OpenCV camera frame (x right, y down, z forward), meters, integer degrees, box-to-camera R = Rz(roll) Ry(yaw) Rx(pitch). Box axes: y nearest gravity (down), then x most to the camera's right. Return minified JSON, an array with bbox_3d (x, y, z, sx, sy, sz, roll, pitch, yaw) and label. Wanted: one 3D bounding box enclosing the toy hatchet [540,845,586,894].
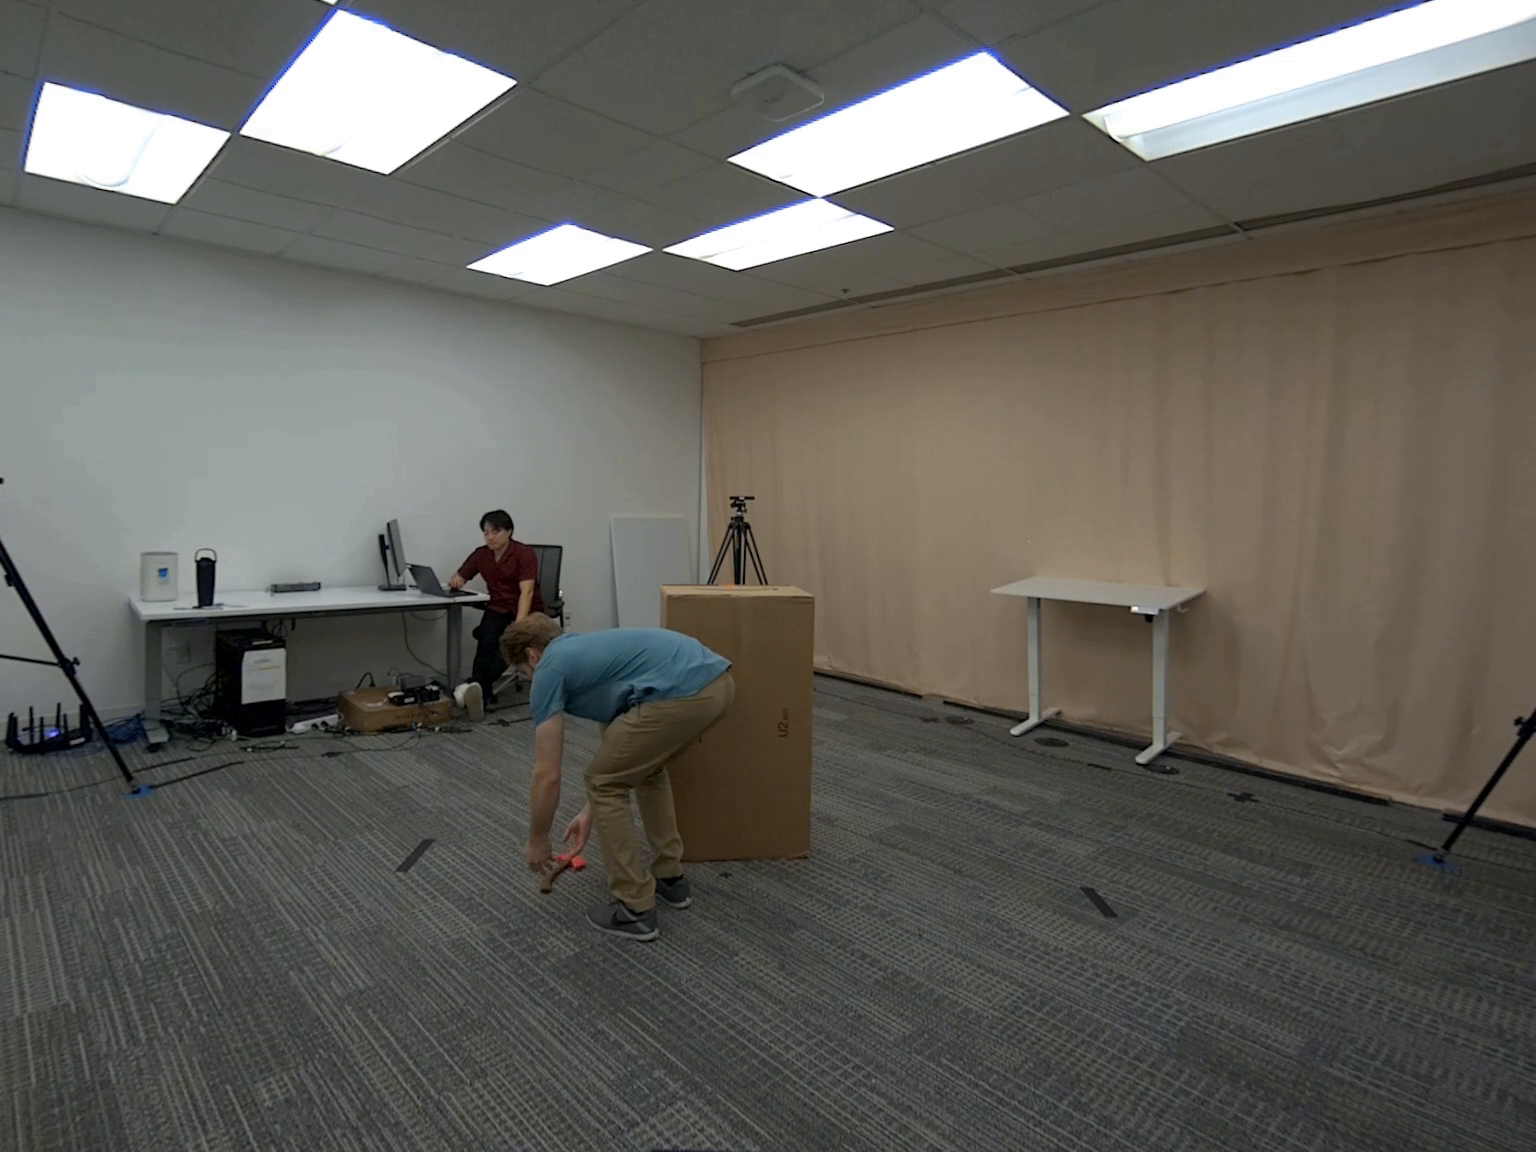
[{"bbox_3d":[-0.748,1.086,3.060,0.131,0.029,0.272,4,8,-3],"label":"toy hatchet"}]
